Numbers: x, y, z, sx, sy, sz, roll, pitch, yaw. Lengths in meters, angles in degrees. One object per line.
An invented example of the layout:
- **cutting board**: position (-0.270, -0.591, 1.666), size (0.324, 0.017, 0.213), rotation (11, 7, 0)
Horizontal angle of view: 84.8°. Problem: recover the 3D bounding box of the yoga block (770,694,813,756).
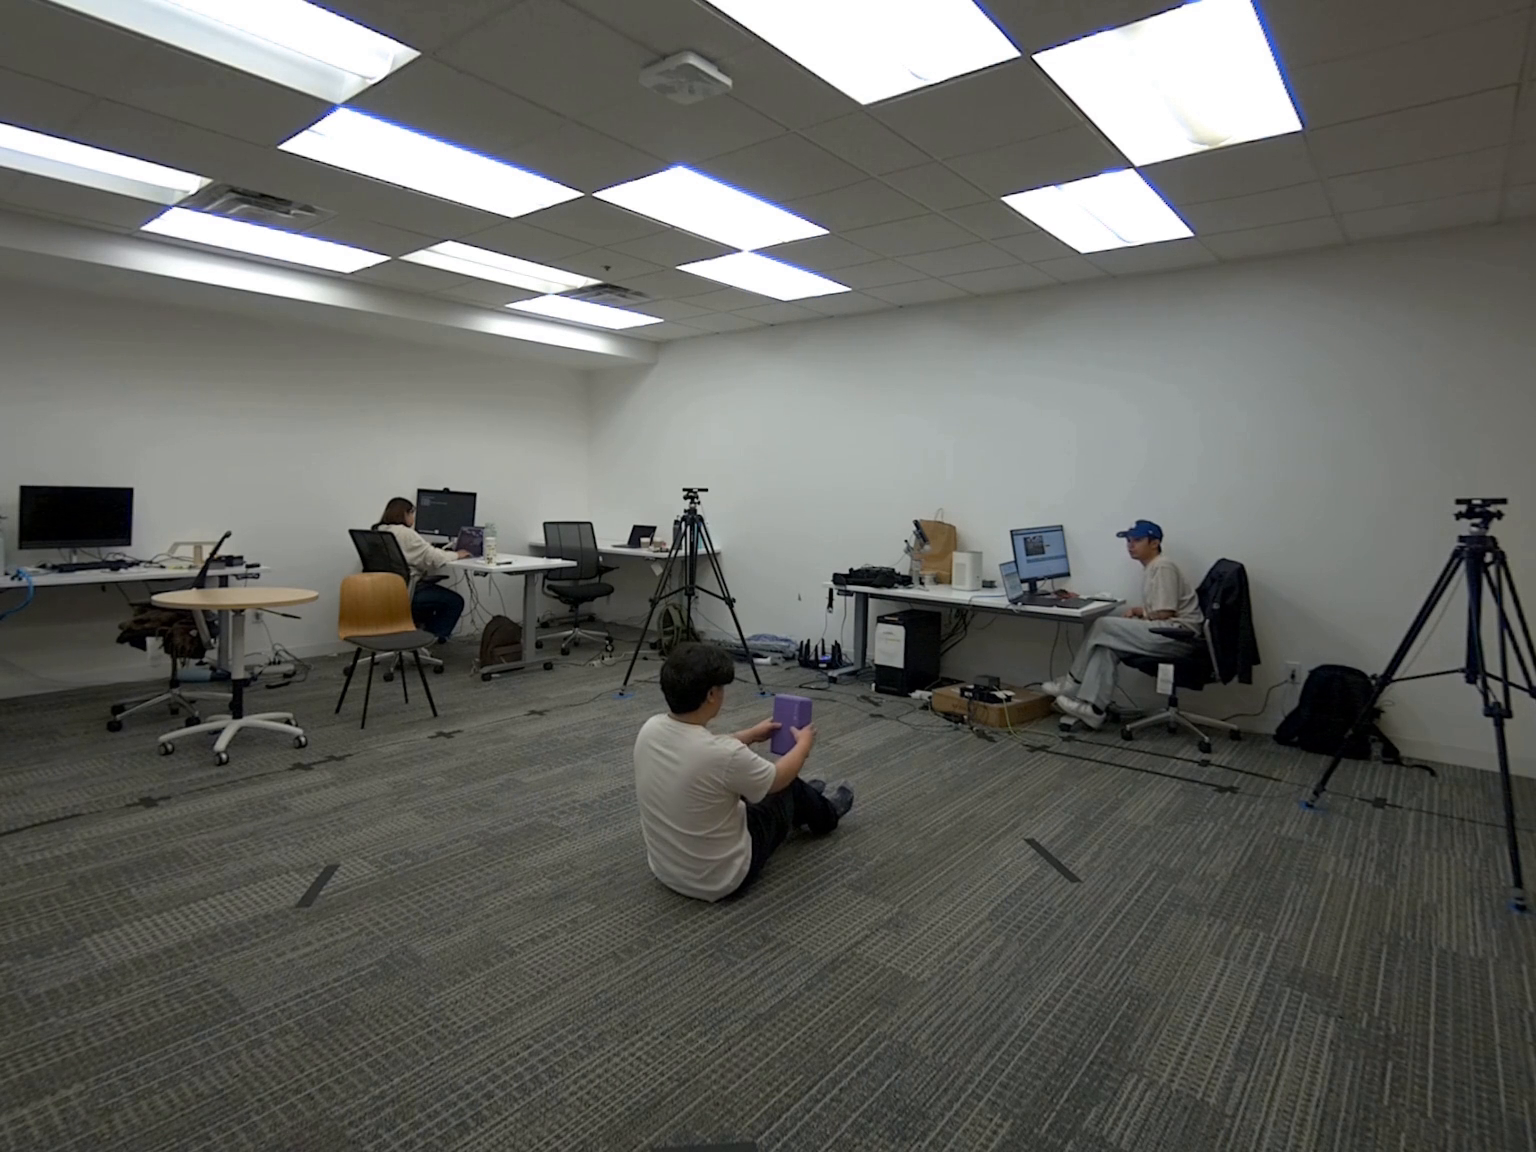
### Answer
- **yoga block**: position (0.078, 0.587, 3.338), size (0.074, 0.230, 0.154), rotation (7, -5, -44)
